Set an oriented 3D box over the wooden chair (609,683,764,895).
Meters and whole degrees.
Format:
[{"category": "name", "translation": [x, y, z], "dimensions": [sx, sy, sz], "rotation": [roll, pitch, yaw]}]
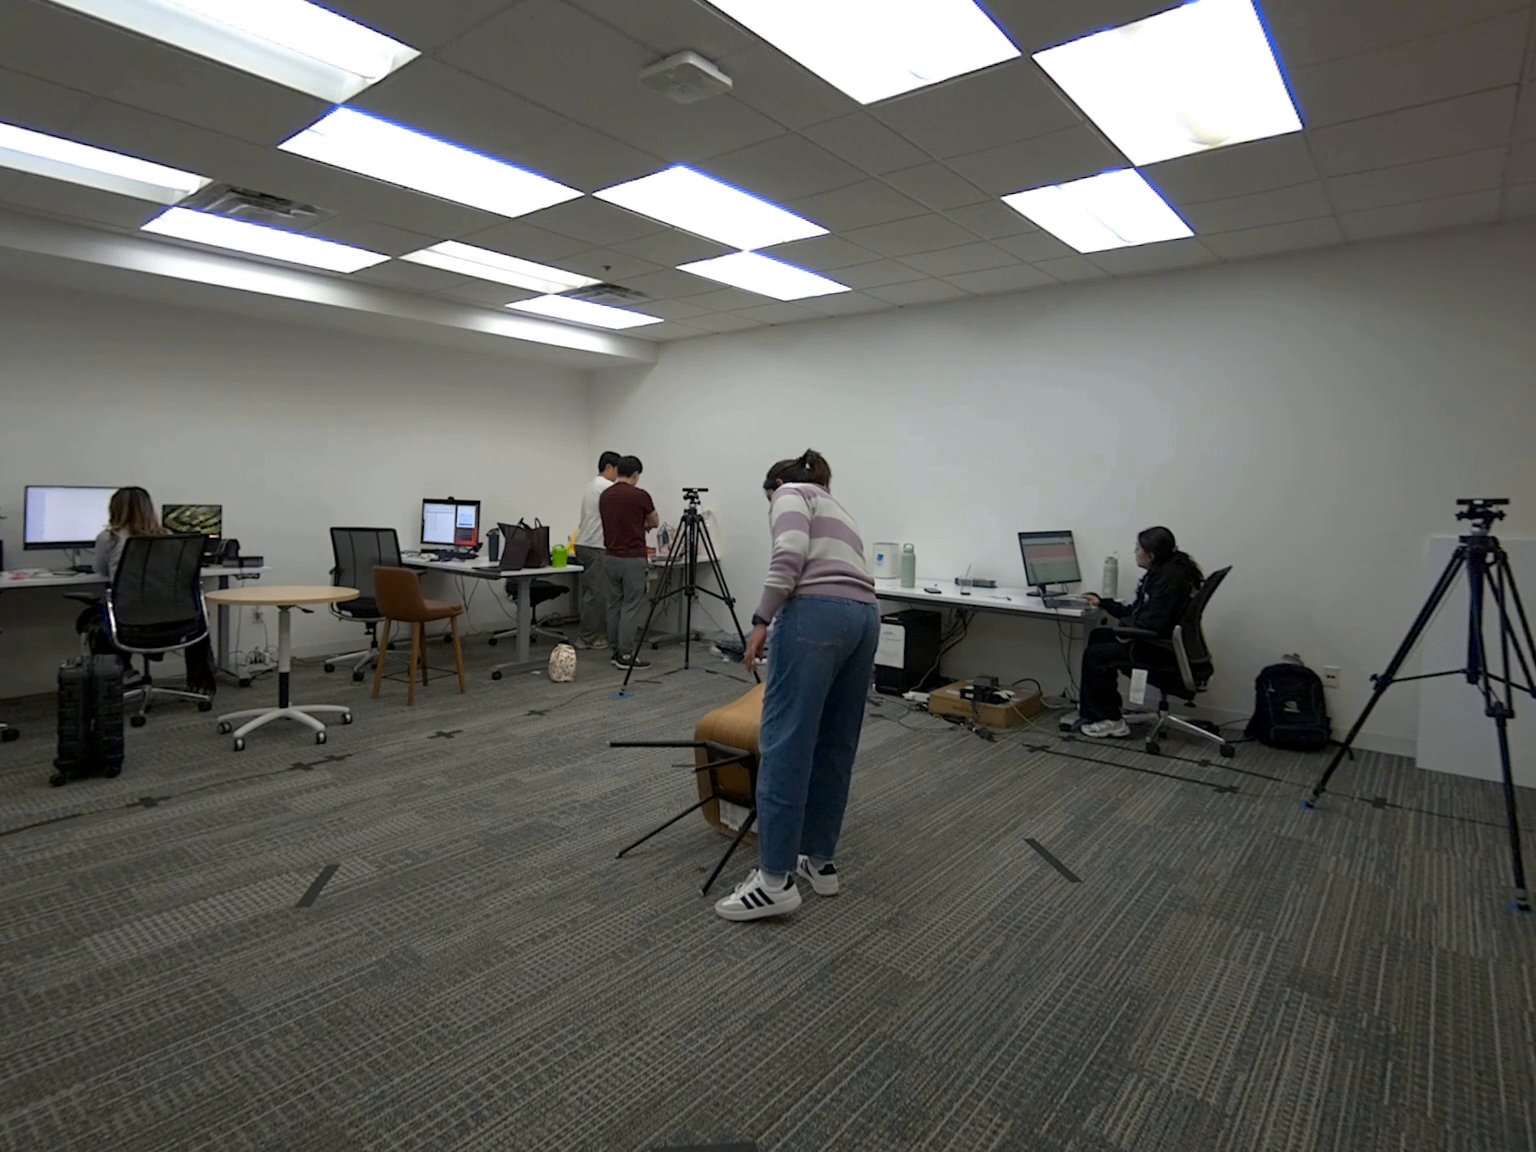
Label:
[{"category": "wooden chair", "translation": [-0.155, 0.785, 3.336], "dimensions": [0.494, 0.517, 0.859], "rotation": [3, 15, 39]}]
